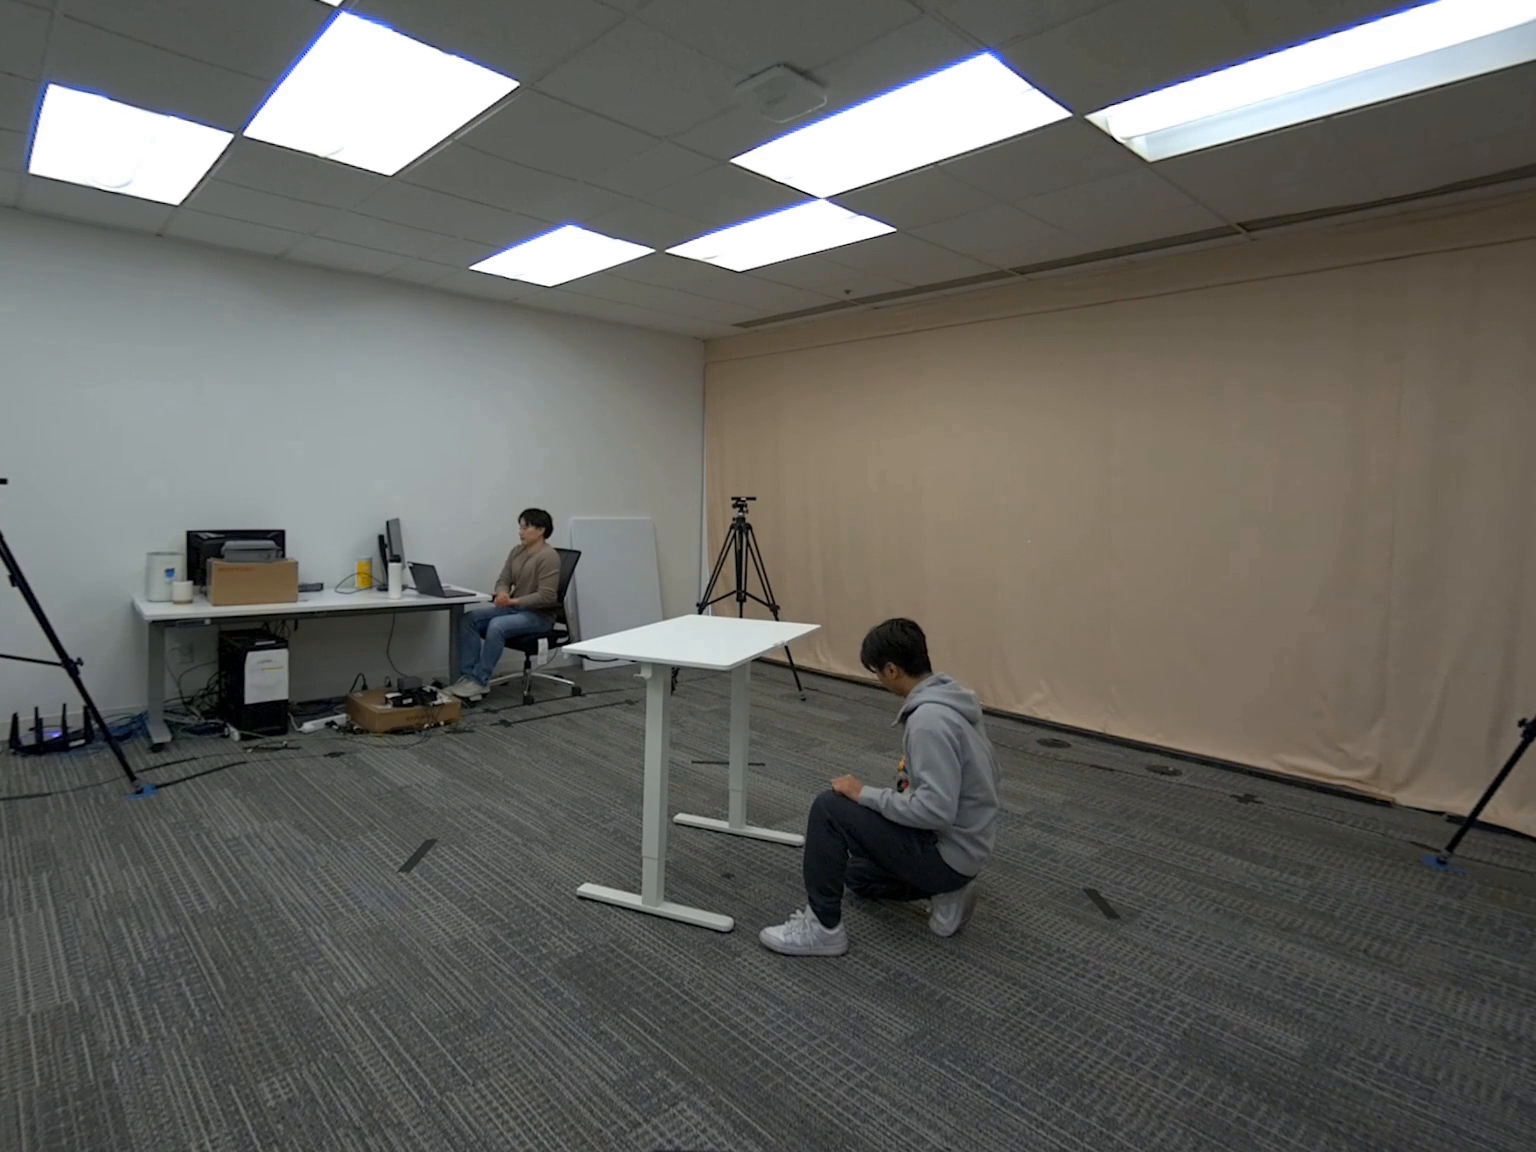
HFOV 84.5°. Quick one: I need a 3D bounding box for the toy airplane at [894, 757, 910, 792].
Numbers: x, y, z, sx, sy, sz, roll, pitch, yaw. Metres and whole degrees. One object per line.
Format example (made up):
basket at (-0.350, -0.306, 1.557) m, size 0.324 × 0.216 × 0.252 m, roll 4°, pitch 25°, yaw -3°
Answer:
toy airplane at (0.614, 0.808, 3.251) m, size 0.255 × 0.155 × 0.257 m, roll 6°, pitch 14°, yaw -18°
